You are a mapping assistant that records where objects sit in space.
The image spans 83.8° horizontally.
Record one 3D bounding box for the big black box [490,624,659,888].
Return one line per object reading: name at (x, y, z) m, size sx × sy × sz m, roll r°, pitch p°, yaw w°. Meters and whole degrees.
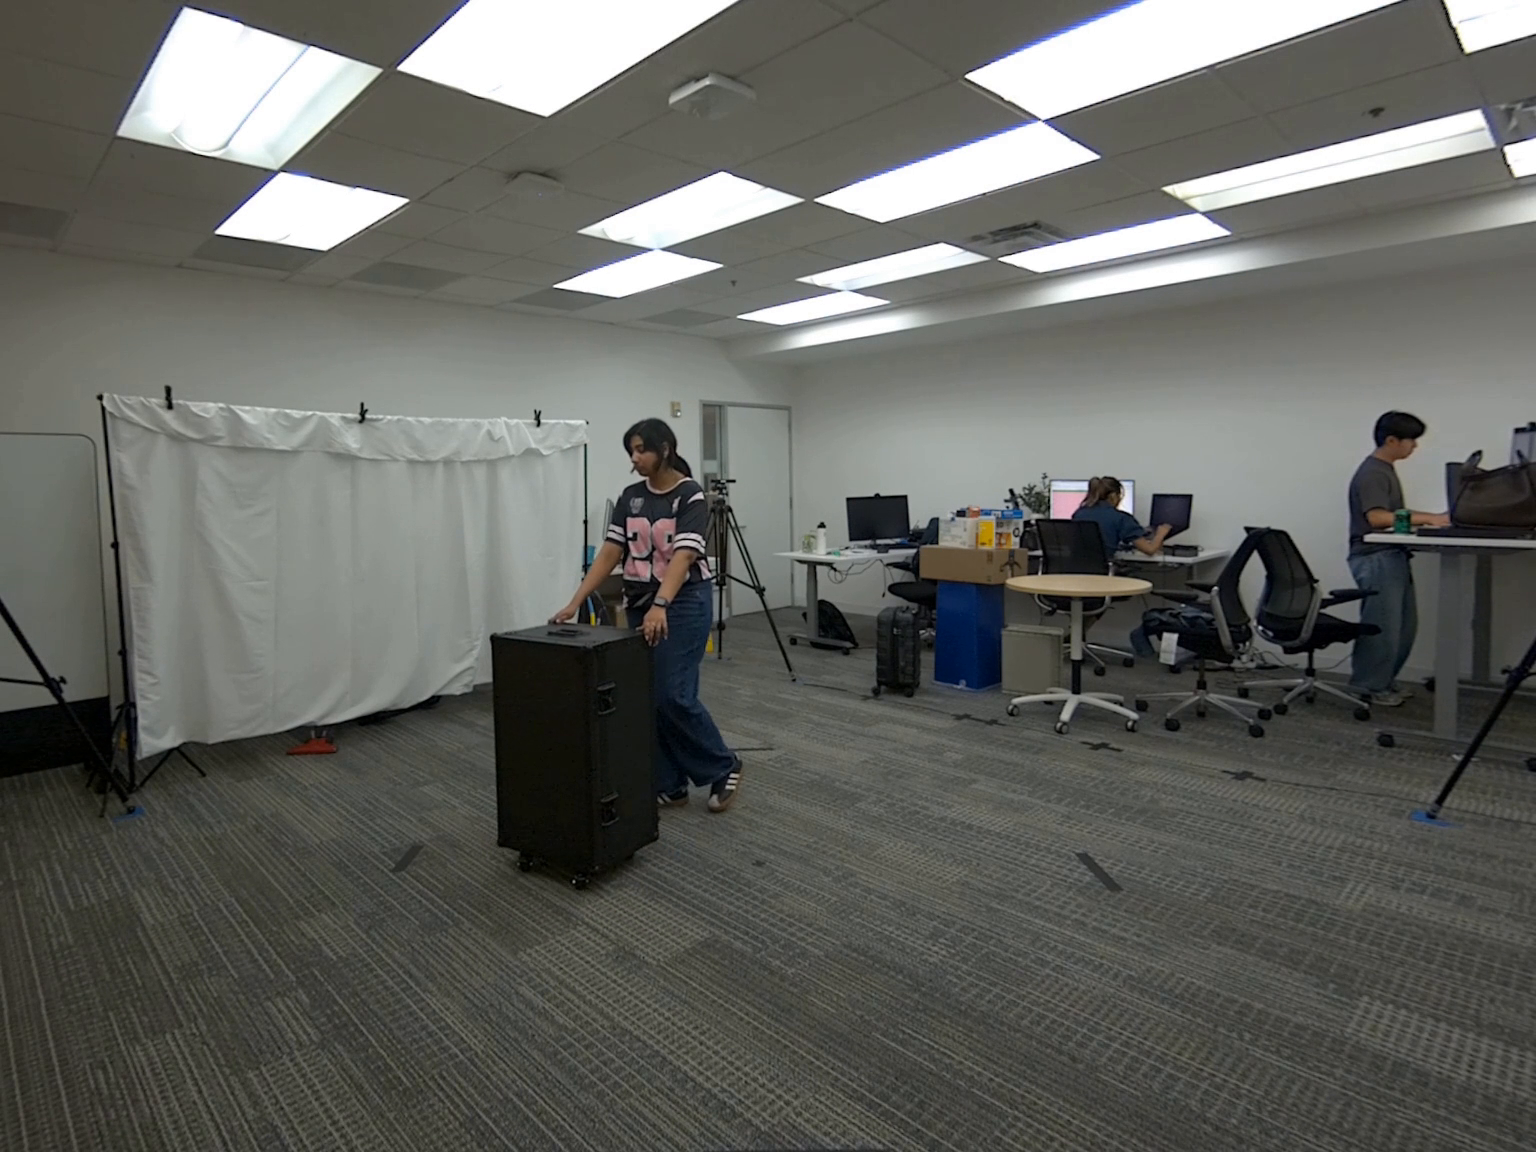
big black box at (-0.715, 0.636, 3.143) m, size 0.538 × 0.866 × 0.376 m, roll 2°, pitch 4°, yaw 32°
